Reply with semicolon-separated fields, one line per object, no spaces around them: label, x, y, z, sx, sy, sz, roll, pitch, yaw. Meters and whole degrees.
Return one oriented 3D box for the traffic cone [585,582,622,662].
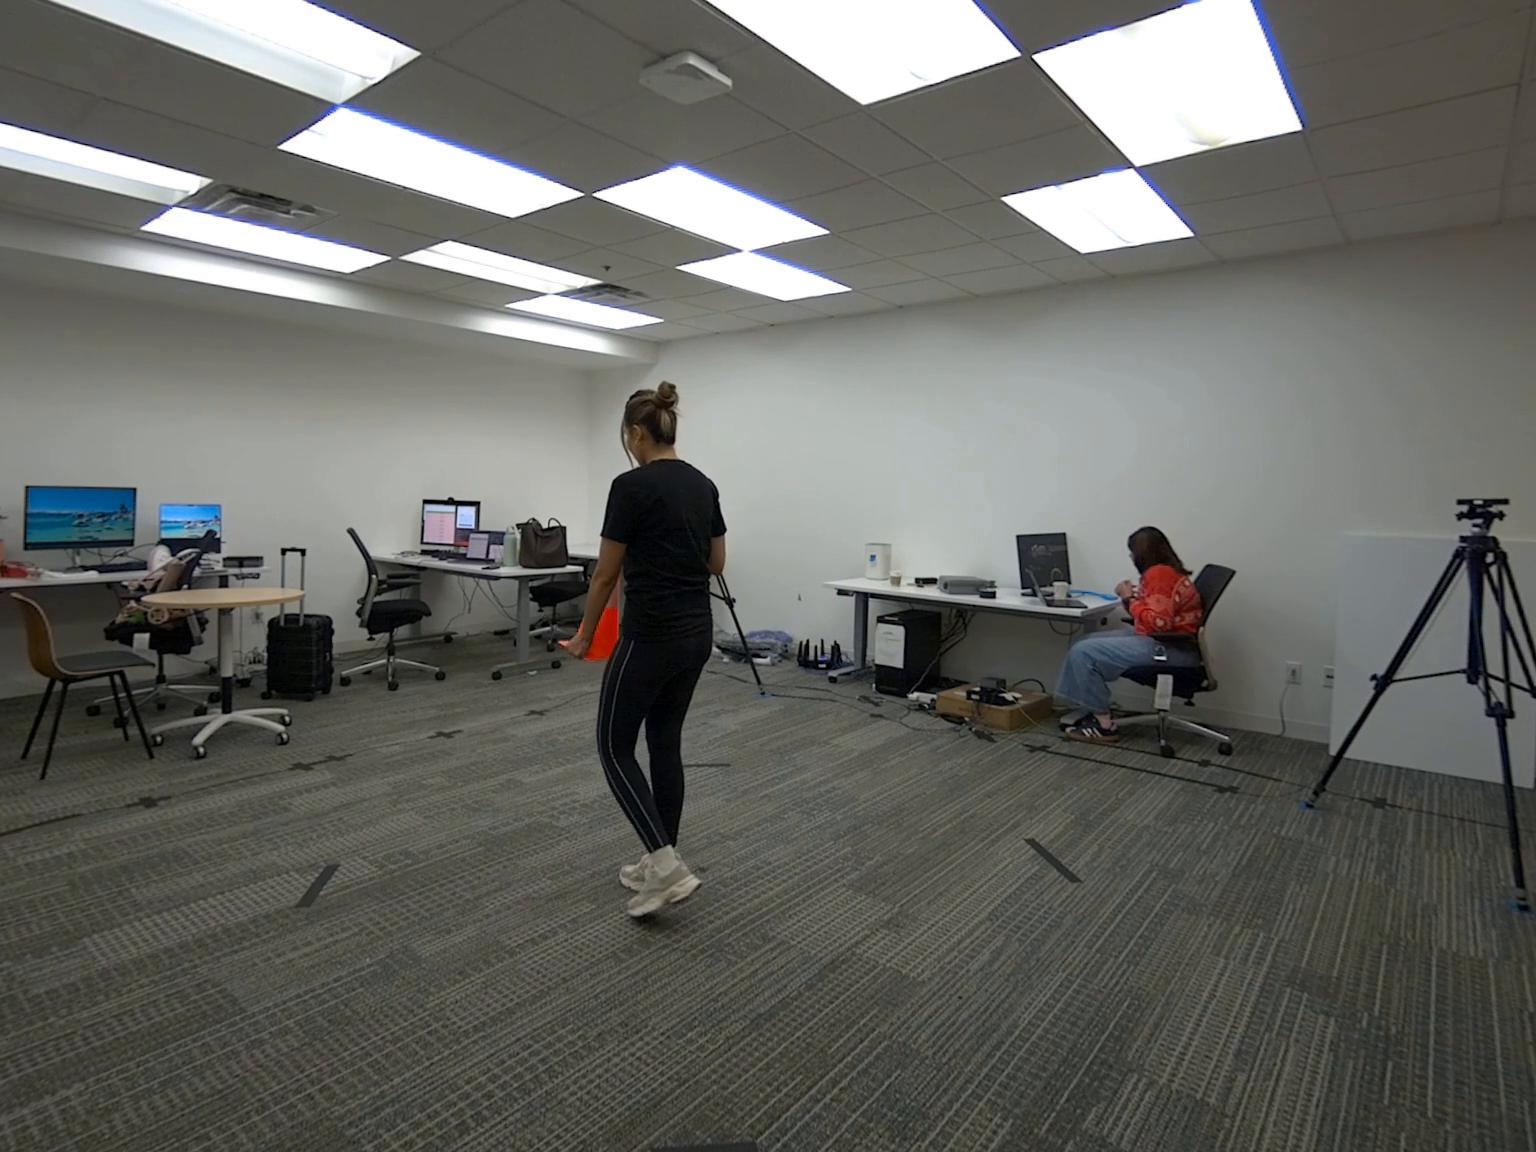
traffic cone;-0.577;0.087;2.983;0.209;0.383;0.199;14;3;25
